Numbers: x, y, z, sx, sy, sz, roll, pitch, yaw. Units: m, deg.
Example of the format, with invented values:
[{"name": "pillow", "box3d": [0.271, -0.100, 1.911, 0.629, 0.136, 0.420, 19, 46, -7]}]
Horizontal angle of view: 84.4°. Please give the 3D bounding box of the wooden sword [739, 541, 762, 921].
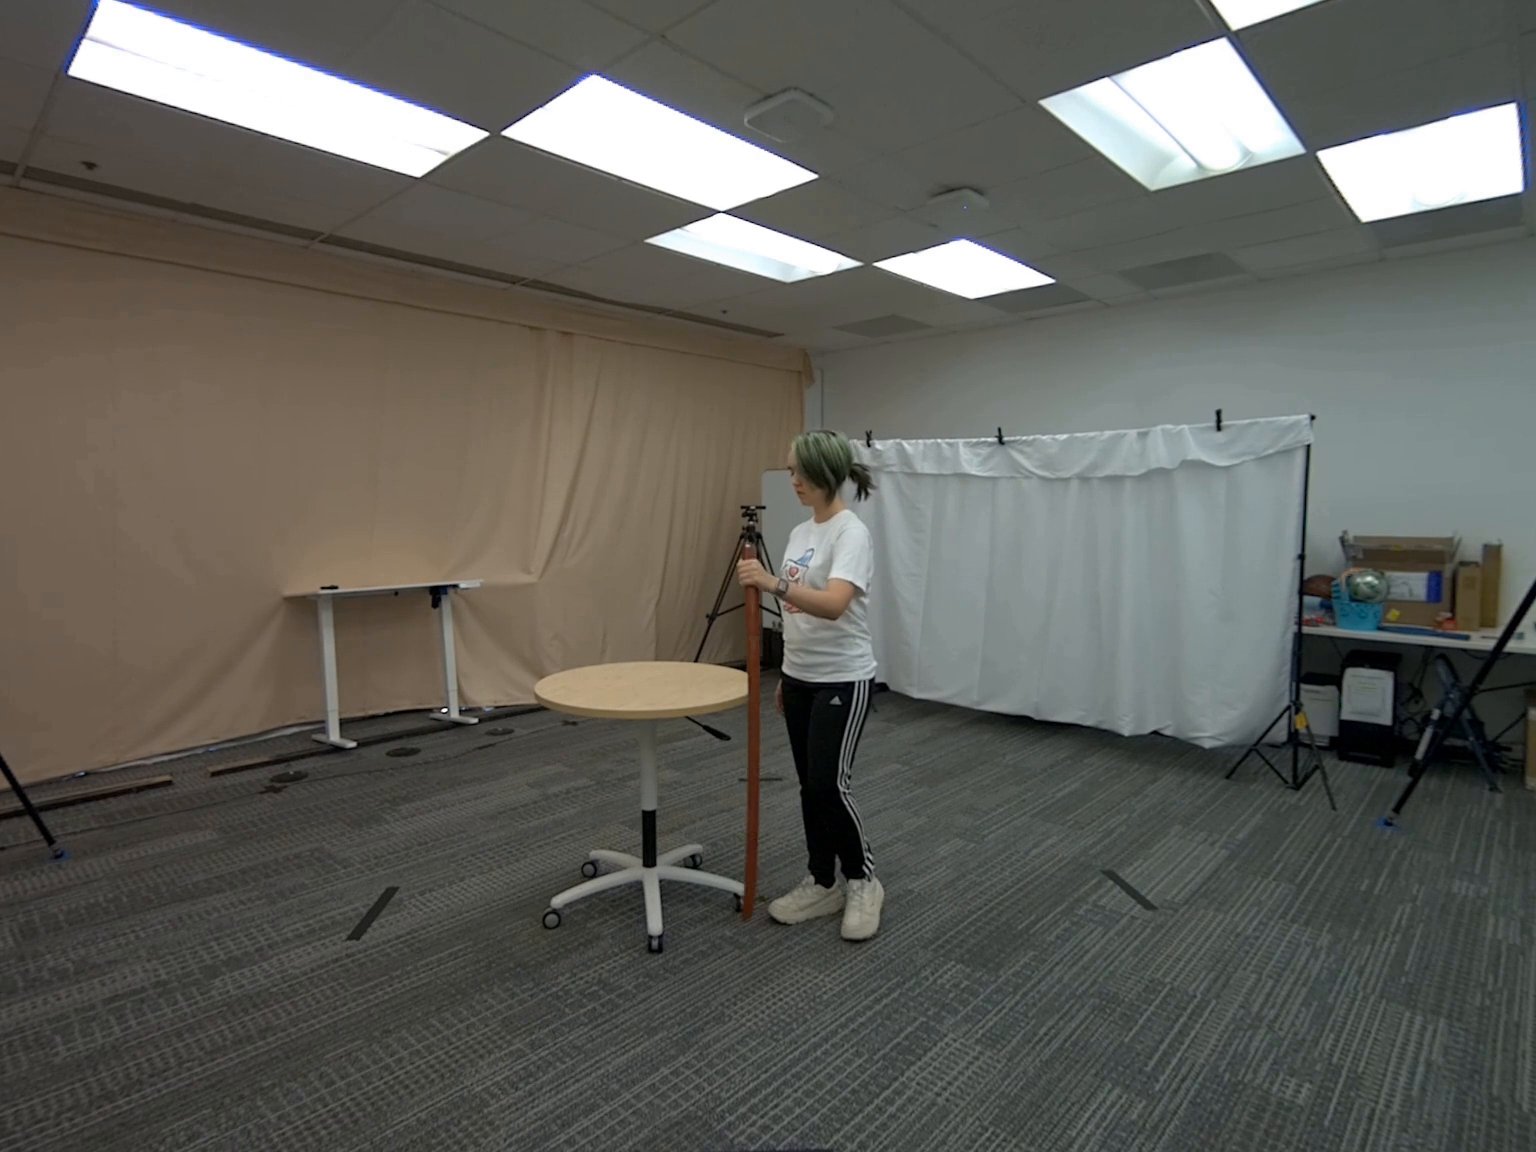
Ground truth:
[{"name": "wooden sword", "box3d": [-0.033, 0.430, 2.343, 0.051, 1.032, 0.024, 0, -12, -4]}]
